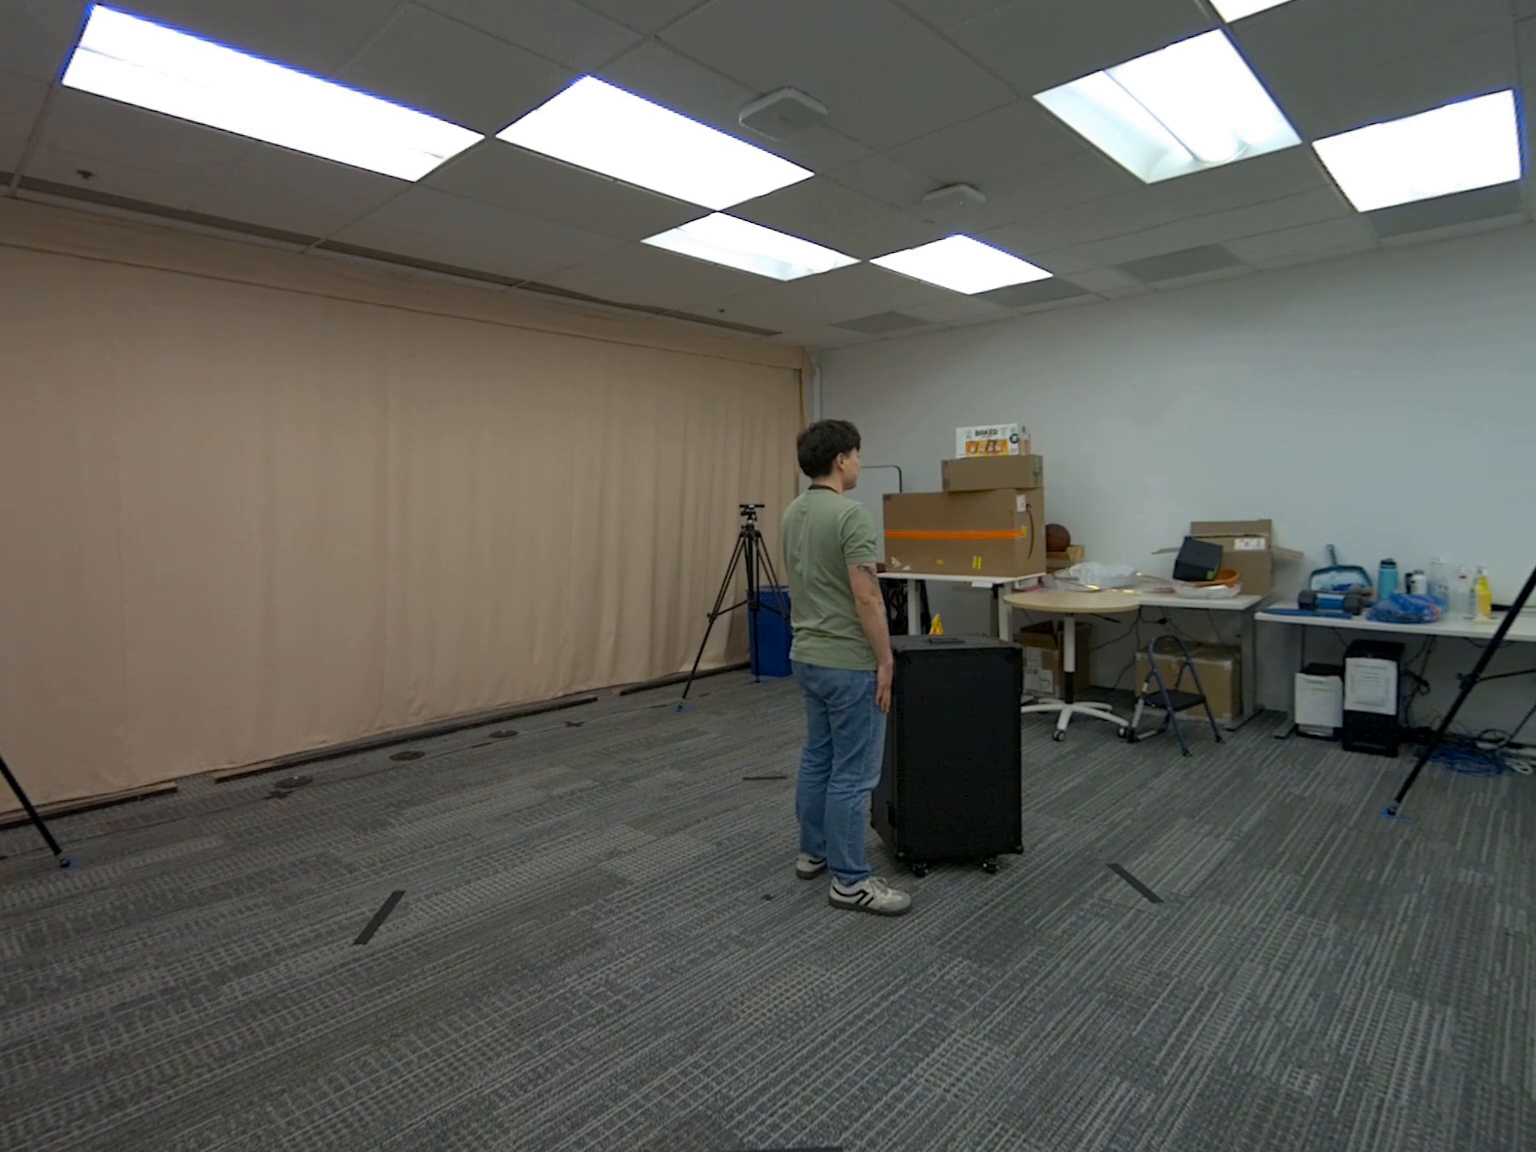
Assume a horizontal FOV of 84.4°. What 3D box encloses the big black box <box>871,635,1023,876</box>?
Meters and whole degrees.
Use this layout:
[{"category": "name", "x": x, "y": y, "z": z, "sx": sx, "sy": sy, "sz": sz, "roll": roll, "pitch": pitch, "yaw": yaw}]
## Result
[{"category": "big black box", "x": 0.680, "y": 0.673, "z": 3.293, "sx": 0.519, "sy": 0.860, "sz": 0.399, "roll": -1, "pitch": 2, "yaw": -5}]
